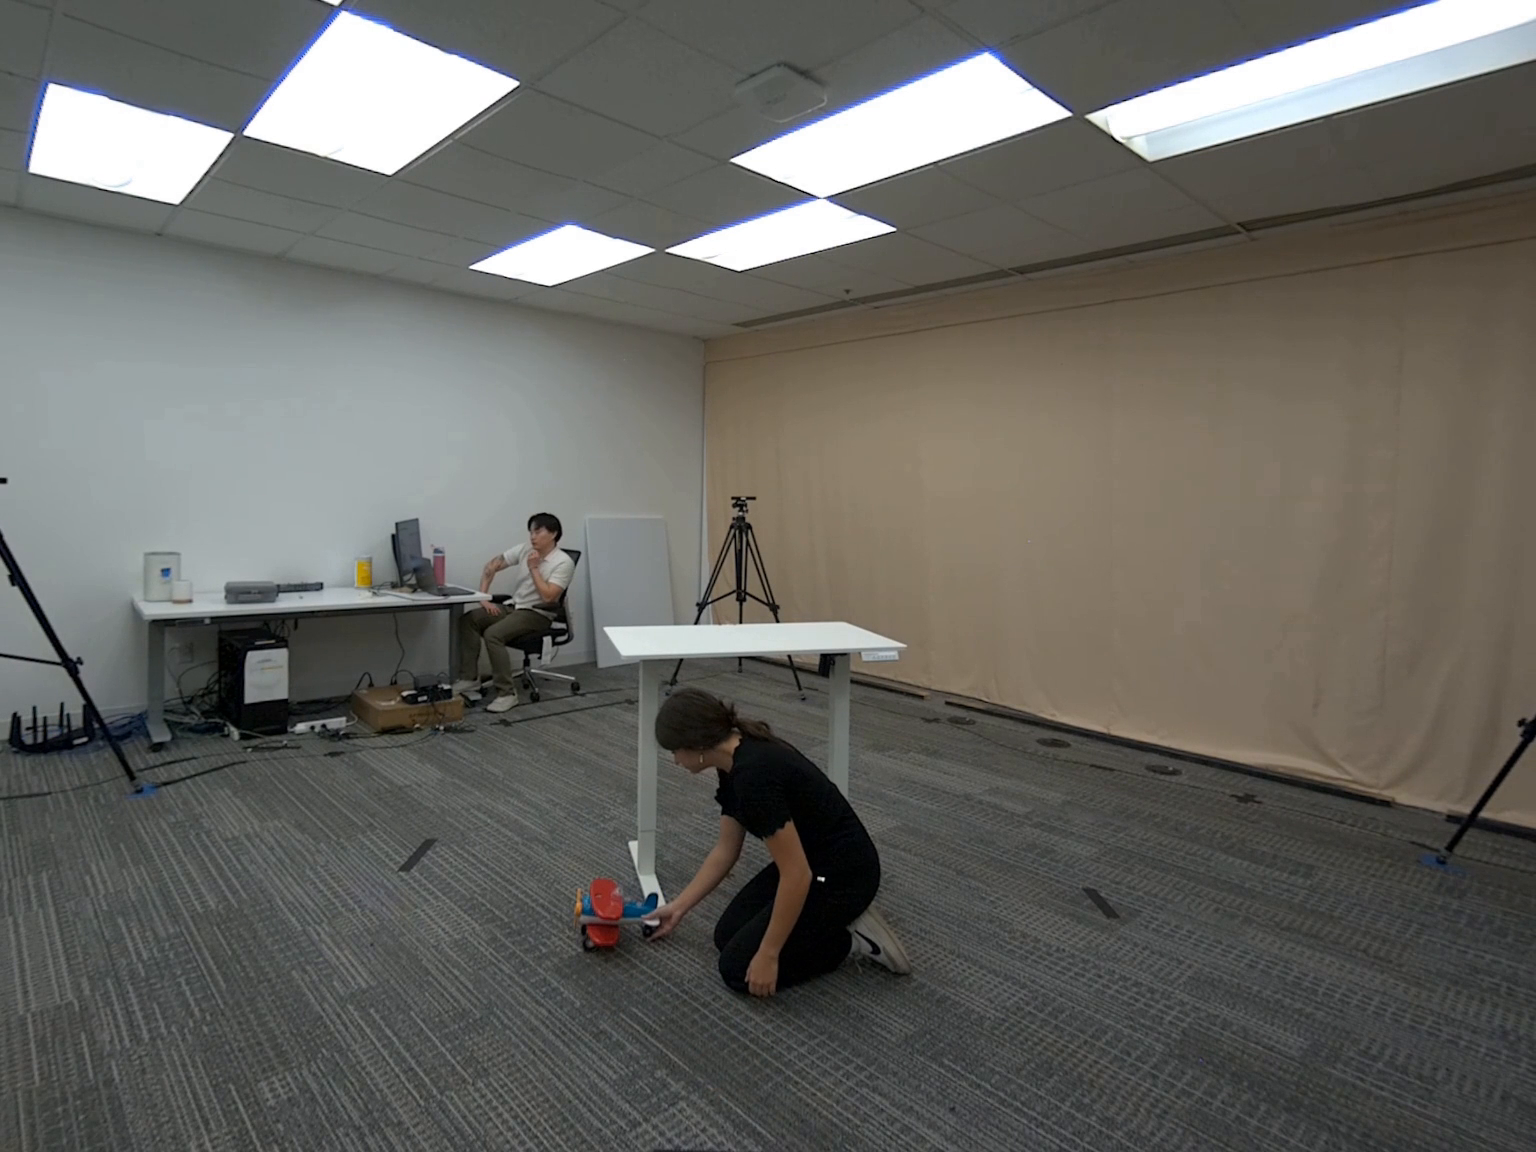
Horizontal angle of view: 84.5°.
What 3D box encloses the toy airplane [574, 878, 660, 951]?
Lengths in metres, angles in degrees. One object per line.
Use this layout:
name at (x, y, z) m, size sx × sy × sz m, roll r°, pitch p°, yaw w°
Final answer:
toy airplane at (-0.486, 1.061, 2.637) m, size 0.254 × 0.155 × 0.257 m, roll -10°, pitch 10°, yaw -41°
